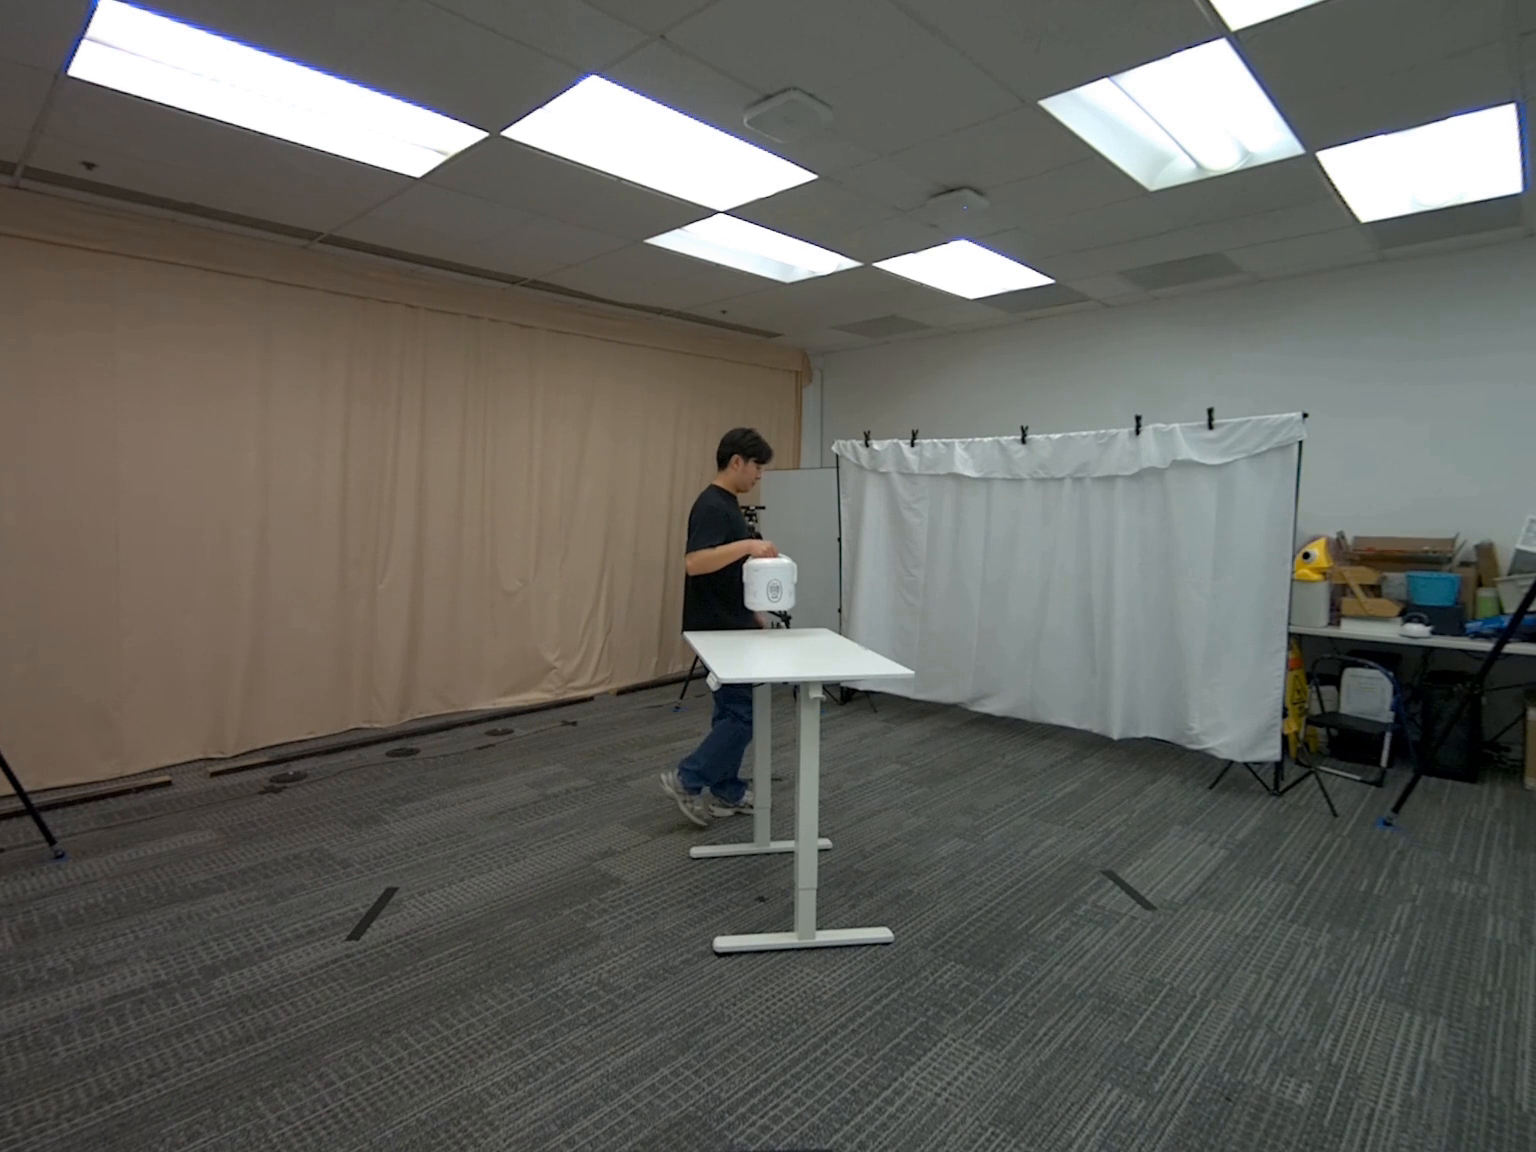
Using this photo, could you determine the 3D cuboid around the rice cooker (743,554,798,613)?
[{"bbox_3d":[0.014,0.019,3.380,0.219,0.233,0.219,-1,-2,-8],"label":"rice cooker"}]
